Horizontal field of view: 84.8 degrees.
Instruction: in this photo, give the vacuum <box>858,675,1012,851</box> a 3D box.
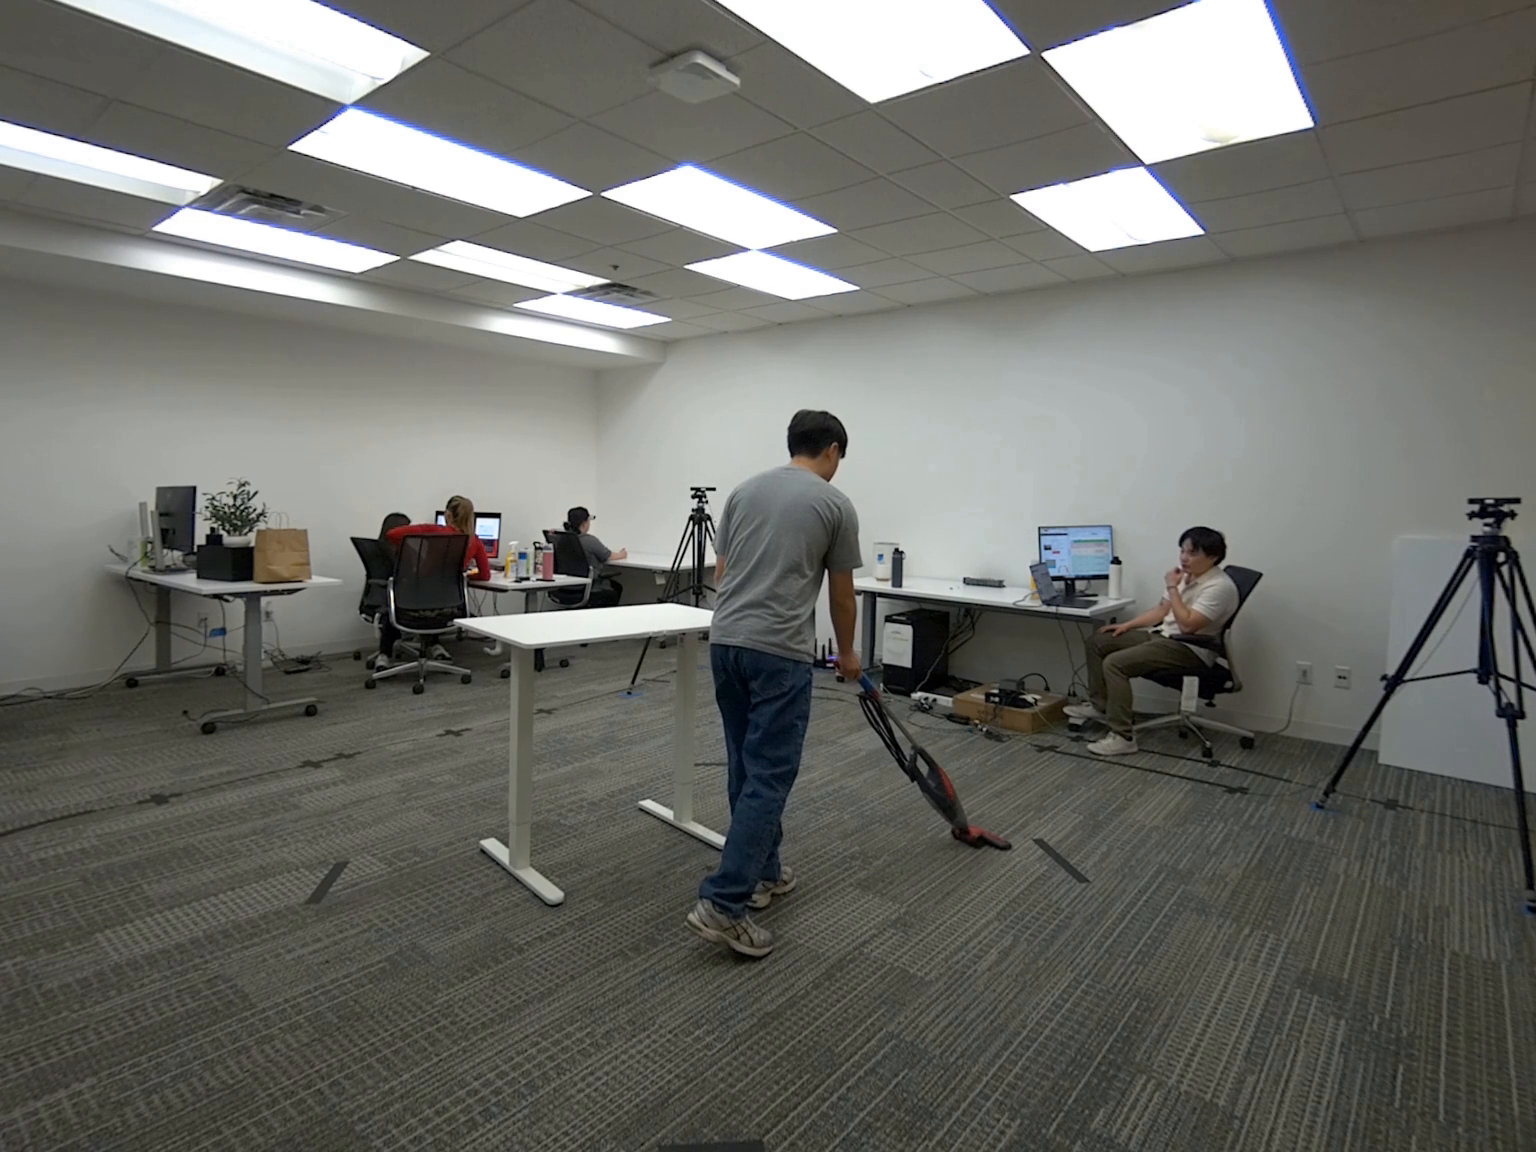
[{"bbox_3d":[0.545,0.693,3.238,1.019,0.144,0.260,49,-24,-22],"label":"vacuum"}]
